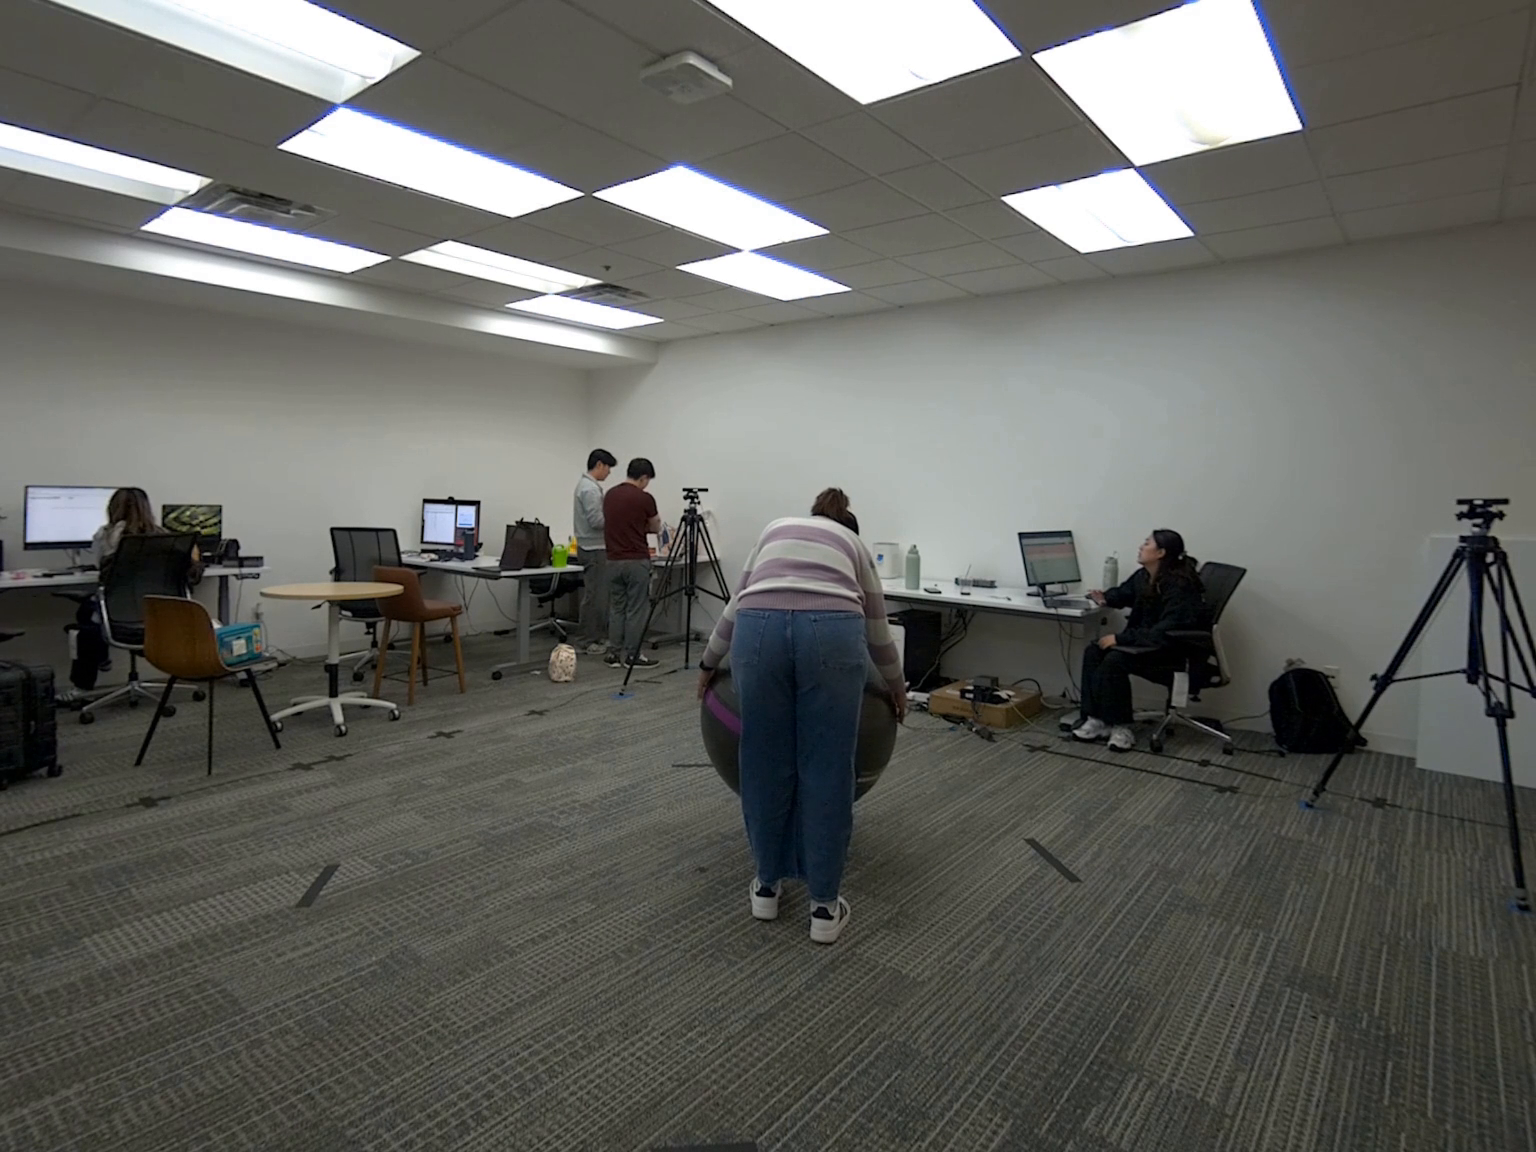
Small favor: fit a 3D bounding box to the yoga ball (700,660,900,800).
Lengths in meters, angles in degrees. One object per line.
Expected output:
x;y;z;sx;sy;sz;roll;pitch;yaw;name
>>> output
0.114;0.543;3.315;0.757;0.756;0.762;1;4;-2;yoga ball
